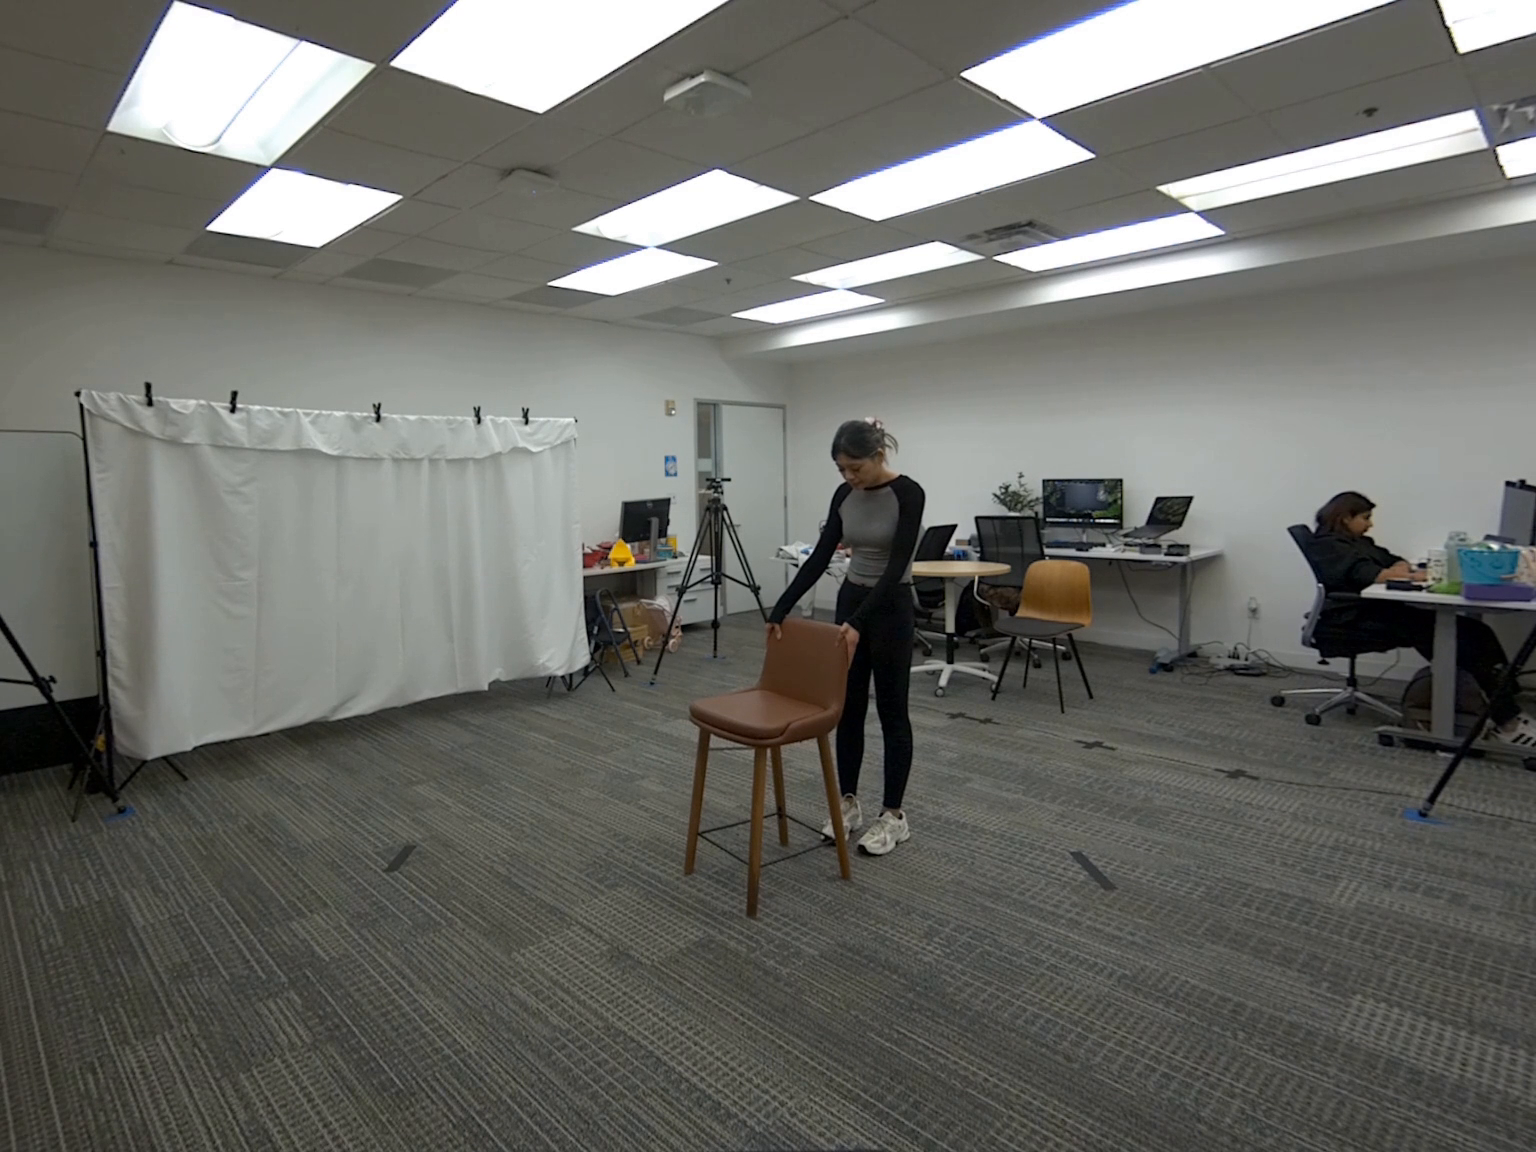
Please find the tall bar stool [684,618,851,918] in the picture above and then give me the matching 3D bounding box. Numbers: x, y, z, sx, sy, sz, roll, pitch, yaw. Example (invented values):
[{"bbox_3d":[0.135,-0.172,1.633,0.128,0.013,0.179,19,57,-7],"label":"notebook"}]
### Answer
[{"bbox_3d":[0.008,0.617,2.975,0.455,0.888,0.470,0,3,-36],"label":"tall bar stool"}]
